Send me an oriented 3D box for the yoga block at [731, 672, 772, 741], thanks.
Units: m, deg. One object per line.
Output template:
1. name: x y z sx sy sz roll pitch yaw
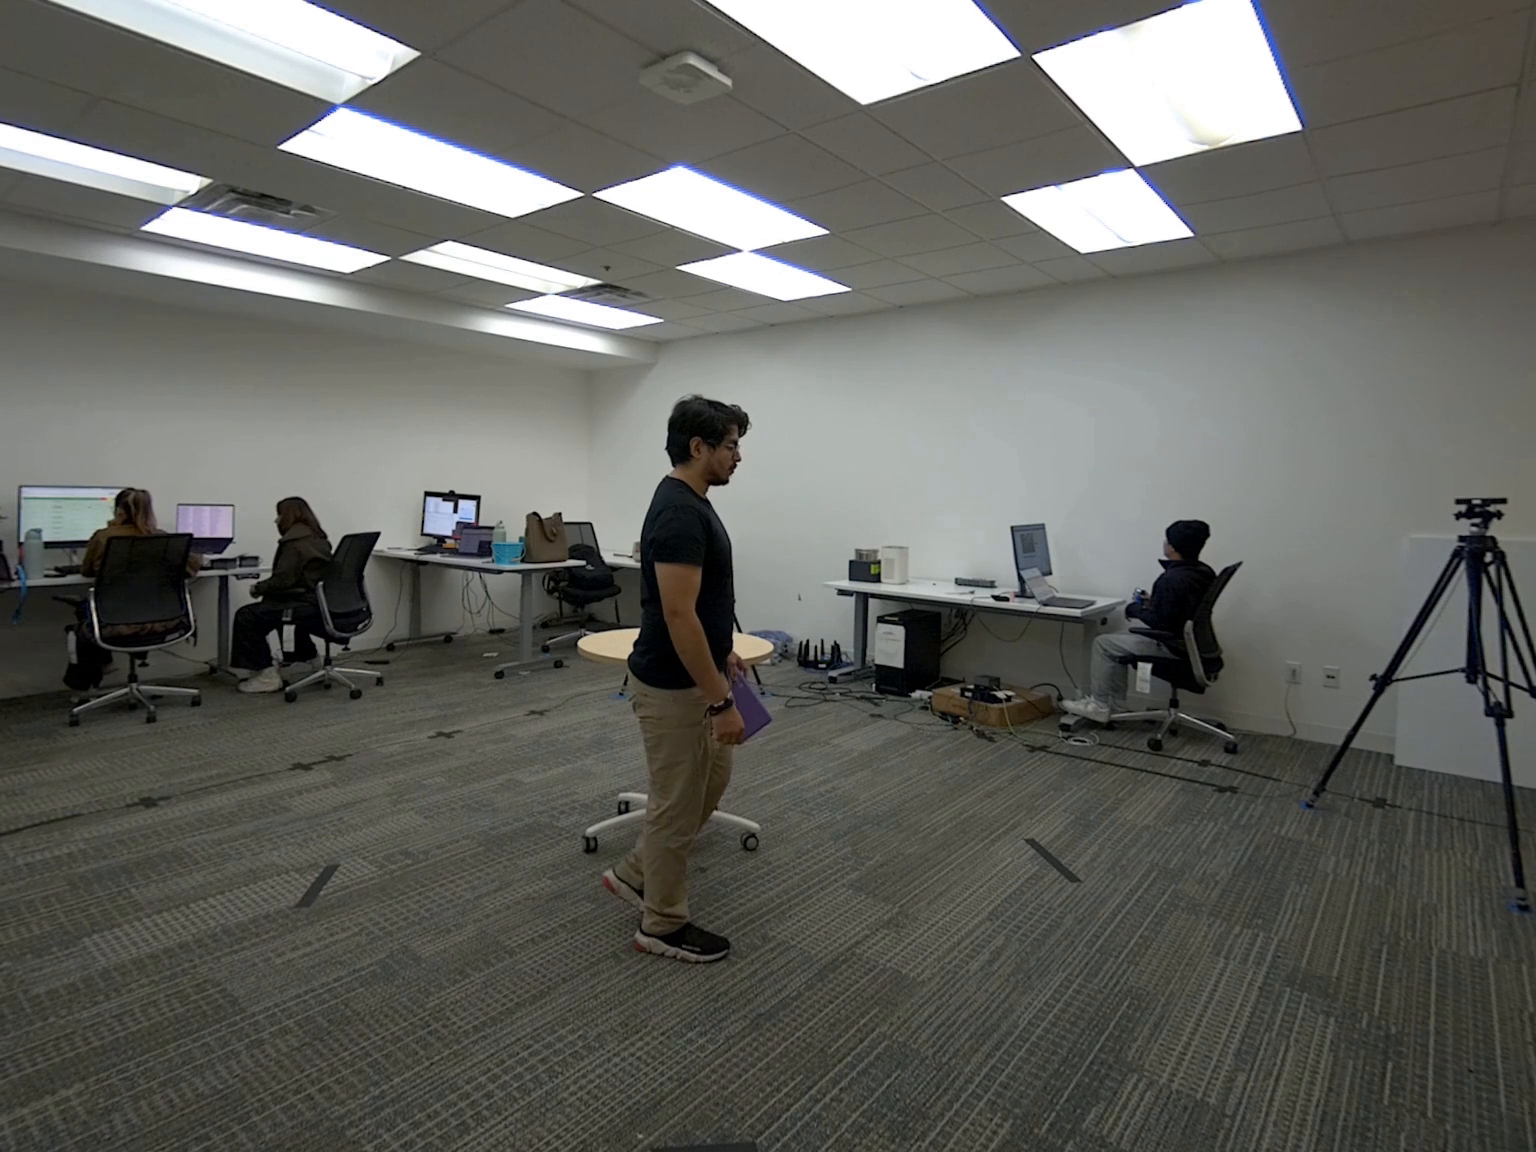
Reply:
1. yoga block: -0.121 0.424 2.835 0.148 0.230 0.076 -34 -3 -8
